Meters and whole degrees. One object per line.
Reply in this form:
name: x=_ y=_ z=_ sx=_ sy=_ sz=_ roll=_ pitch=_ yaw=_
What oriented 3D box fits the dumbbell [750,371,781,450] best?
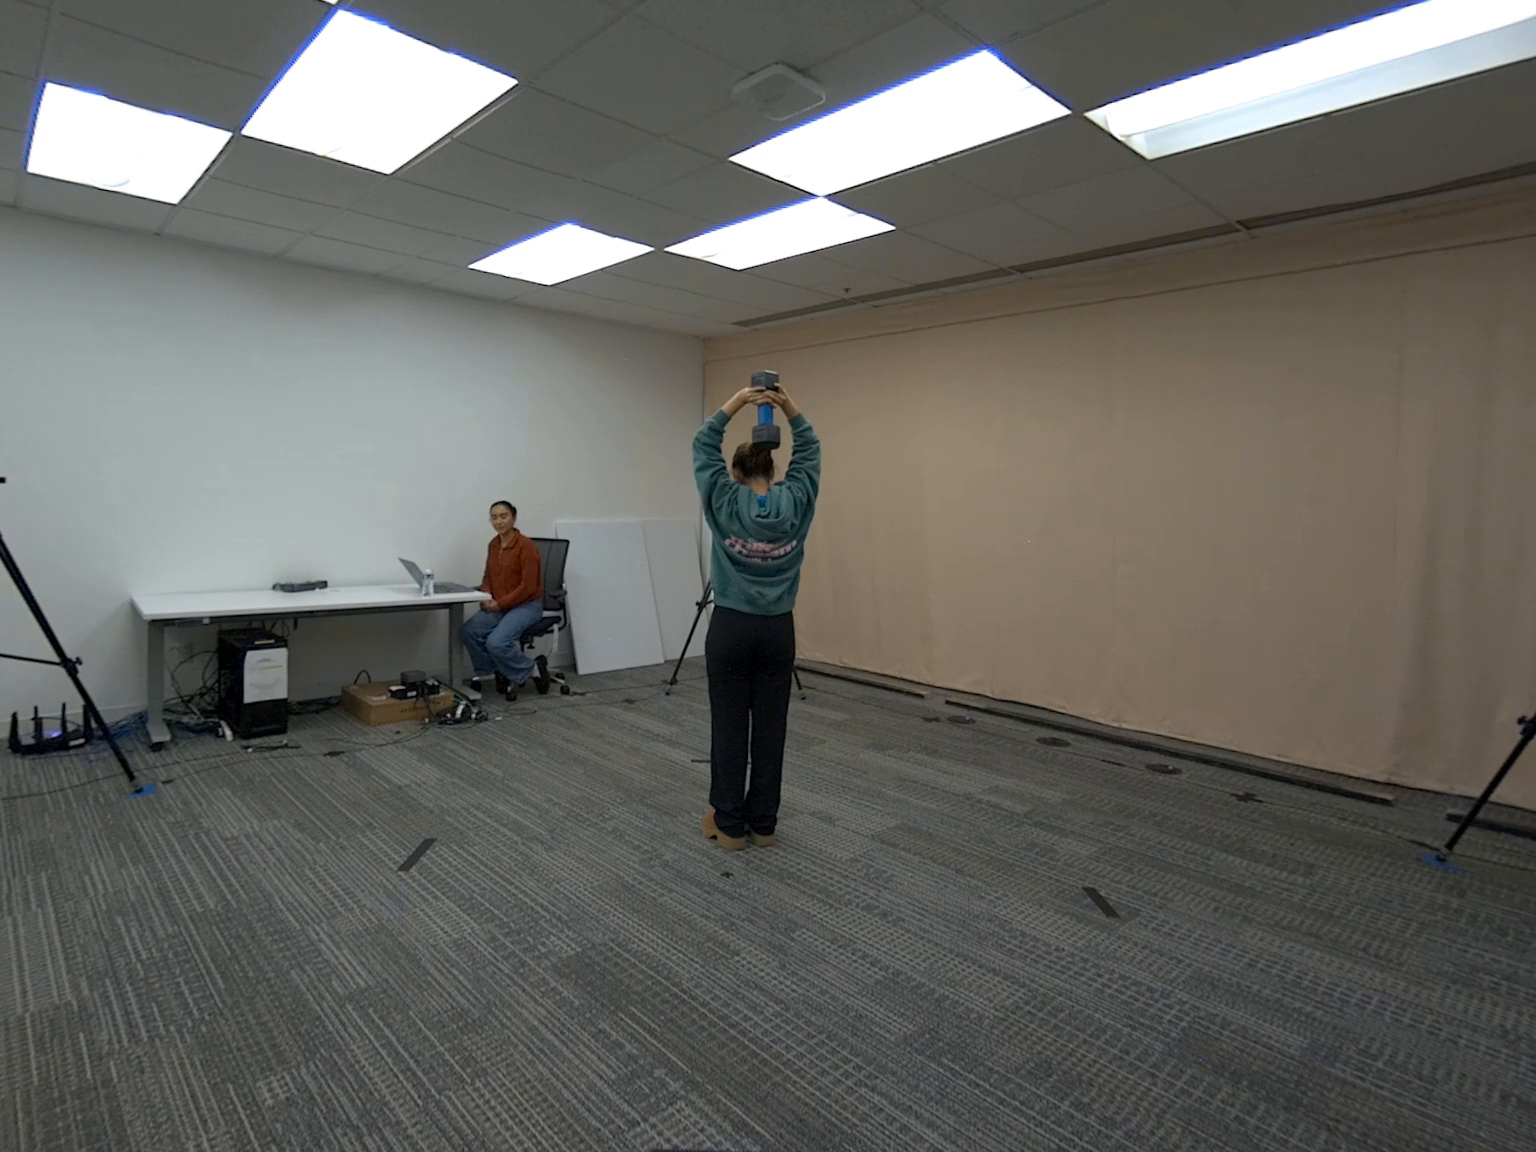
dumbbell: x=-0.021 y=-0.634 z=3.236 sx=0.108 sy=0.296 sz=0.122 roll=-2 pitch=-12 yaw=-7
